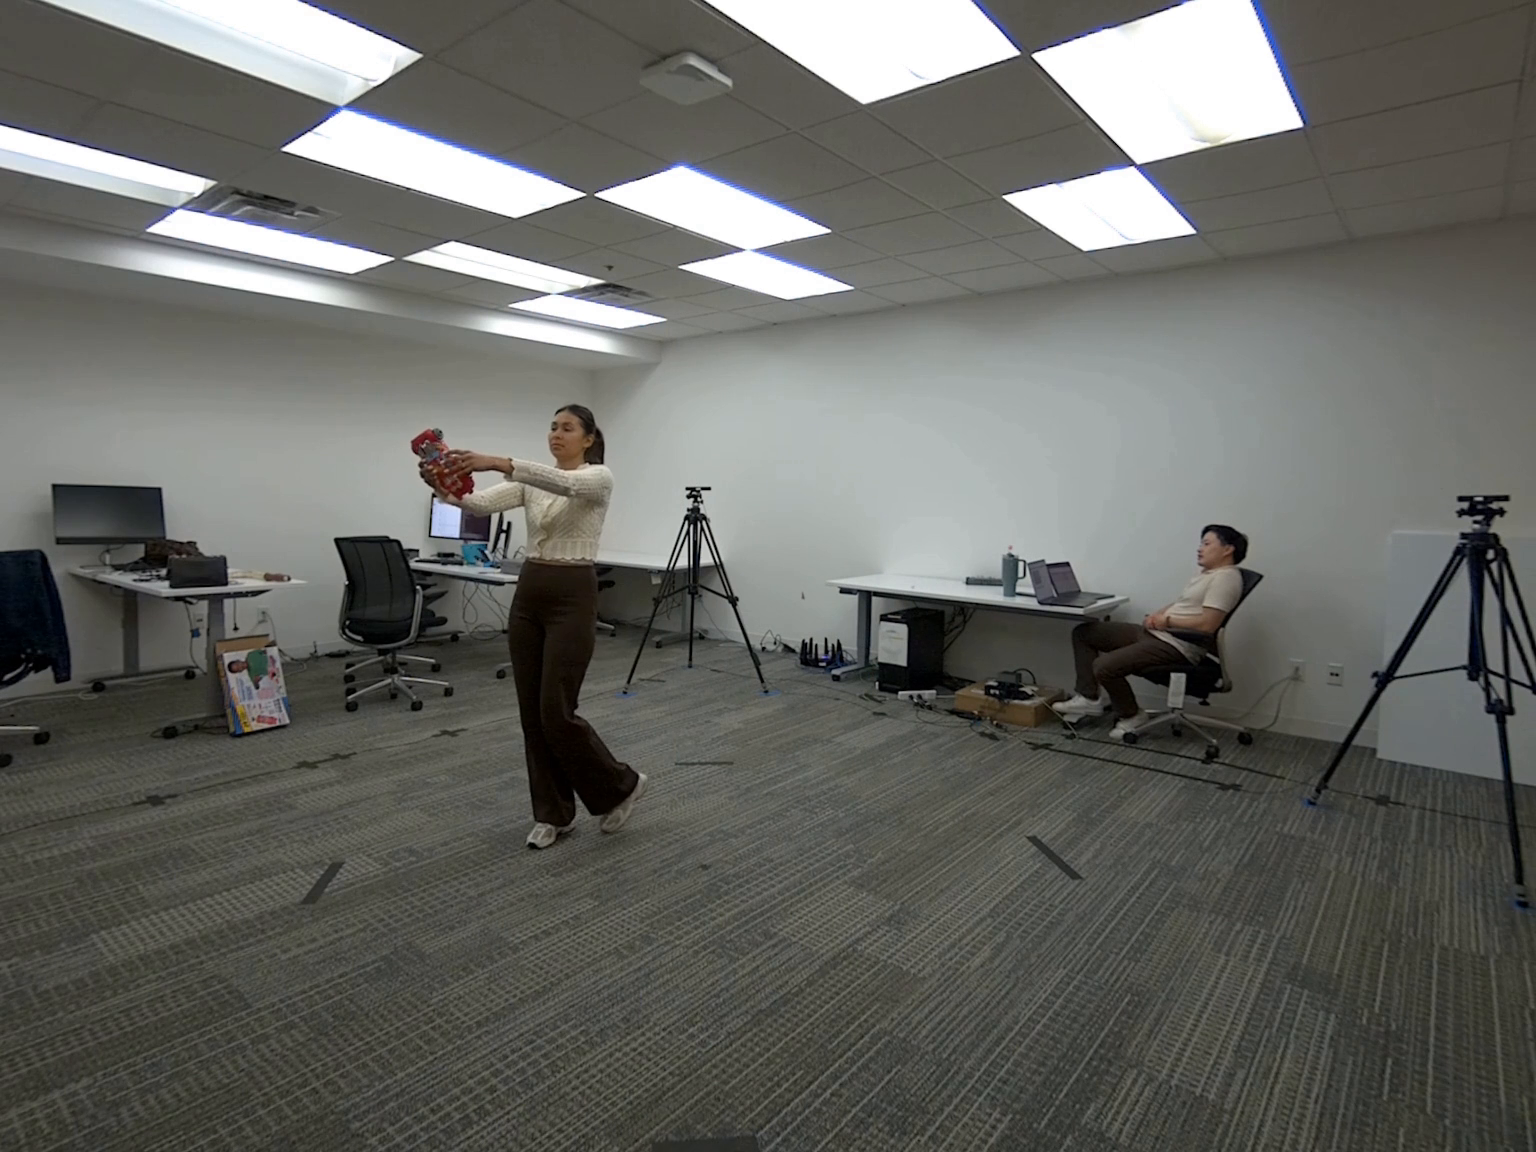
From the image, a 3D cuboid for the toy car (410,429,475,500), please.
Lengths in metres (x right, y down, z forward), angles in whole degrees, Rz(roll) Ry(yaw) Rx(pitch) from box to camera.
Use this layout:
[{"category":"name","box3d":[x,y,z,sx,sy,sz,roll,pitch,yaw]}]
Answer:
[{"category":"toy car","box3d":[-1.093,-0.374,2.861,0.131,0.251,0.083,-28,10,21]}]
